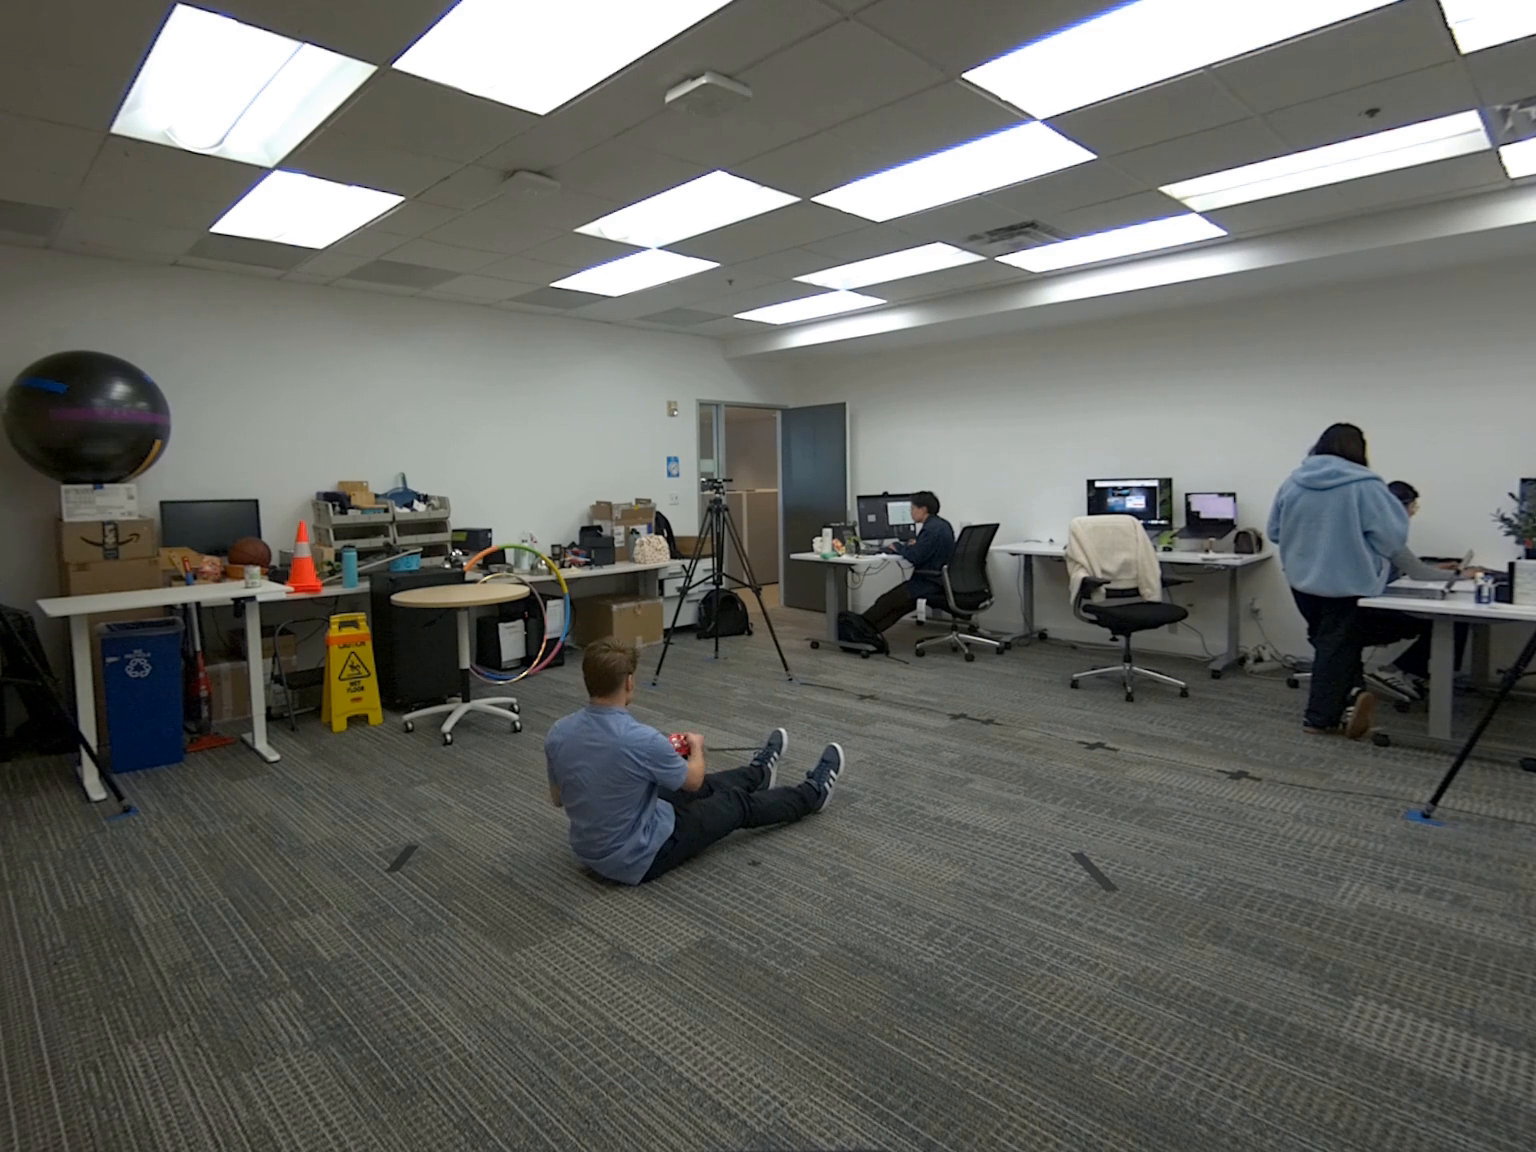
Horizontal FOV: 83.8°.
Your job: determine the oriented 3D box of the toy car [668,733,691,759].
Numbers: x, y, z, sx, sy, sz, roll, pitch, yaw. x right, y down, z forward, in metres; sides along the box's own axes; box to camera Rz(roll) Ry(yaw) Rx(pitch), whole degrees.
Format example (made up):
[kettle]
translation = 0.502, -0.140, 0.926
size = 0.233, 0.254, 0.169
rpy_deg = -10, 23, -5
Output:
[toy car]
translation = -0.405, 0.710, 3.429
size = 0.252, 0.080, 0.135
rpy_deg = -26, 47, -17
